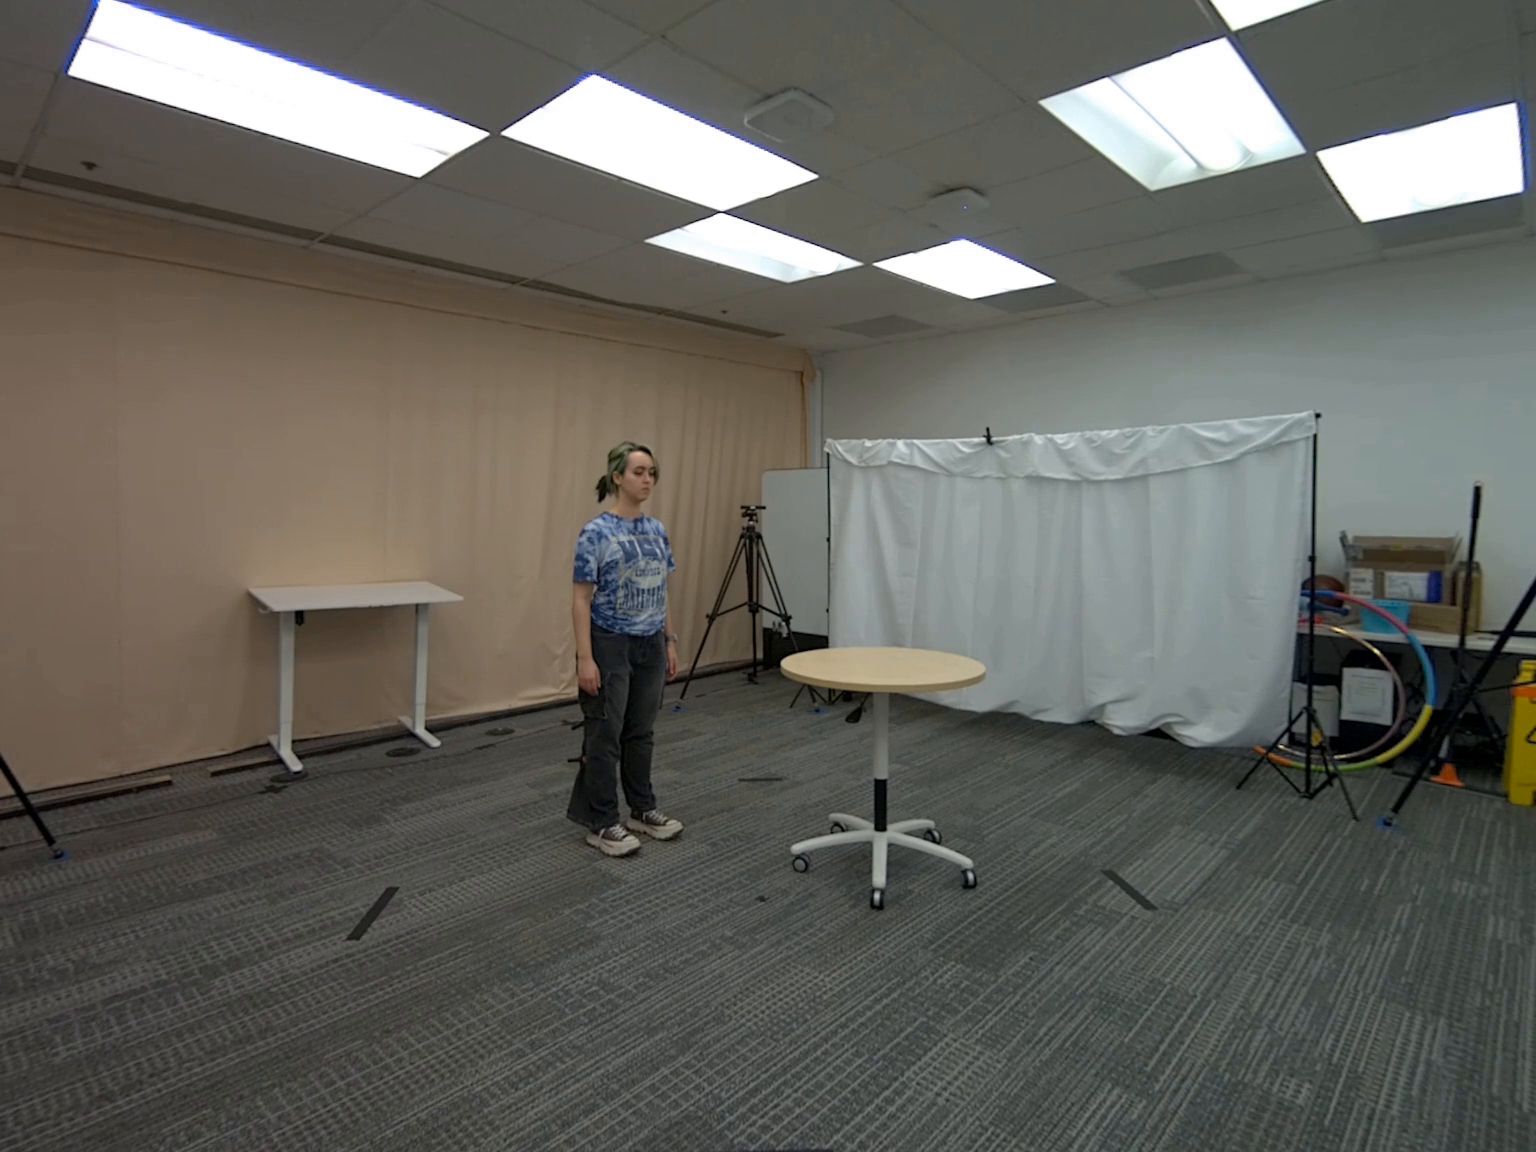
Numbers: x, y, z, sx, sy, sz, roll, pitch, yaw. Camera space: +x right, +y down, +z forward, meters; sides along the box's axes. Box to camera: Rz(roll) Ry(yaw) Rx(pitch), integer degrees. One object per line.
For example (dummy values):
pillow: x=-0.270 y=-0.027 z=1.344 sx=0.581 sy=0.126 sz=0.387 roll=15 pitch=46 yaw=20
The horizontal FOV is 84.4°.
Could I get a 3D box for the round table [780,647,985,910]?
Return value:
round table: x=0.436 y=0.732 z=3.235 sx=0.763 sy=0.792 sz=0.766 roll=0 pitch=4 yaw=-2
